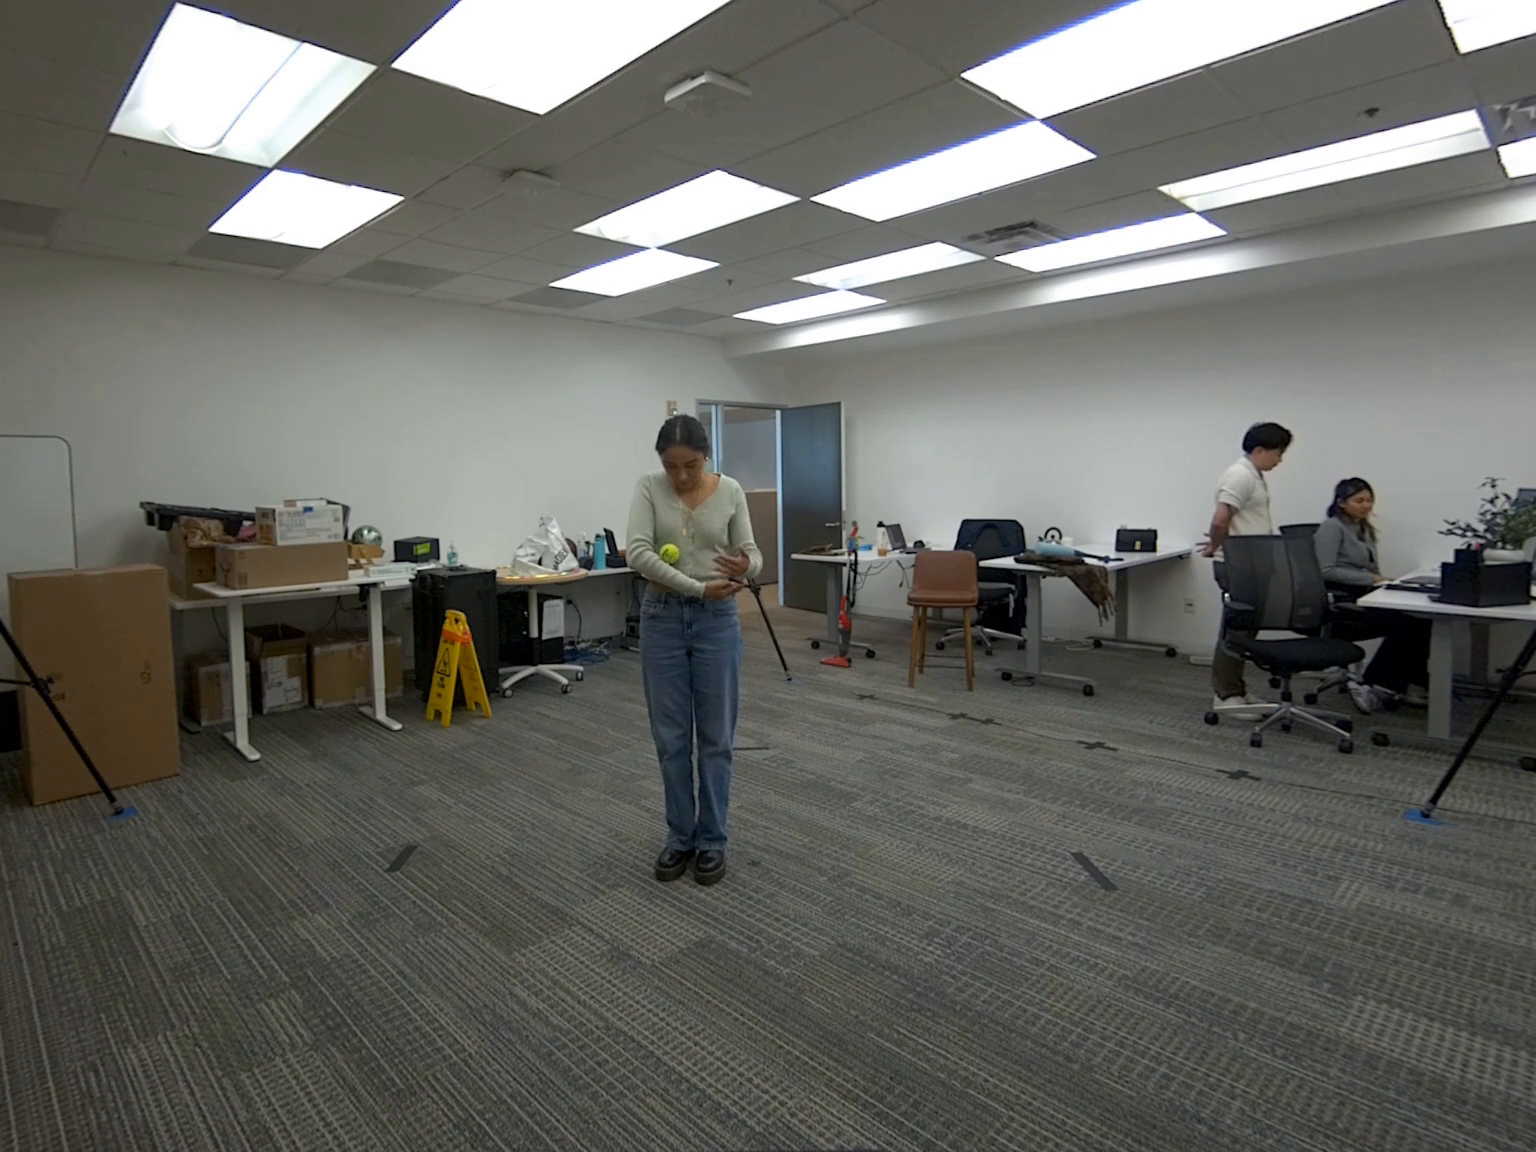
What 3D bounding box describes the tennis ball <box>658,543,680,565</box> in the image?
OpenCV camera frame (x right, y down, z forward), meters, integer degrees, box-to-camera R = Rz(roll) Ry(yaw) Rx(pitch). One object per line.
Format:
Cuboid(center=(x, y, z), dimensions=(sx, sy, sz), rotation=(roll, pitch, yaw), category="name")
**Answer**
Cuboid(center=(-0.356, -0.071, 2.914), dimensions=(0.066, 0.066, 0.067), rotation=(-1, 5, -2), category="tennis ball")
